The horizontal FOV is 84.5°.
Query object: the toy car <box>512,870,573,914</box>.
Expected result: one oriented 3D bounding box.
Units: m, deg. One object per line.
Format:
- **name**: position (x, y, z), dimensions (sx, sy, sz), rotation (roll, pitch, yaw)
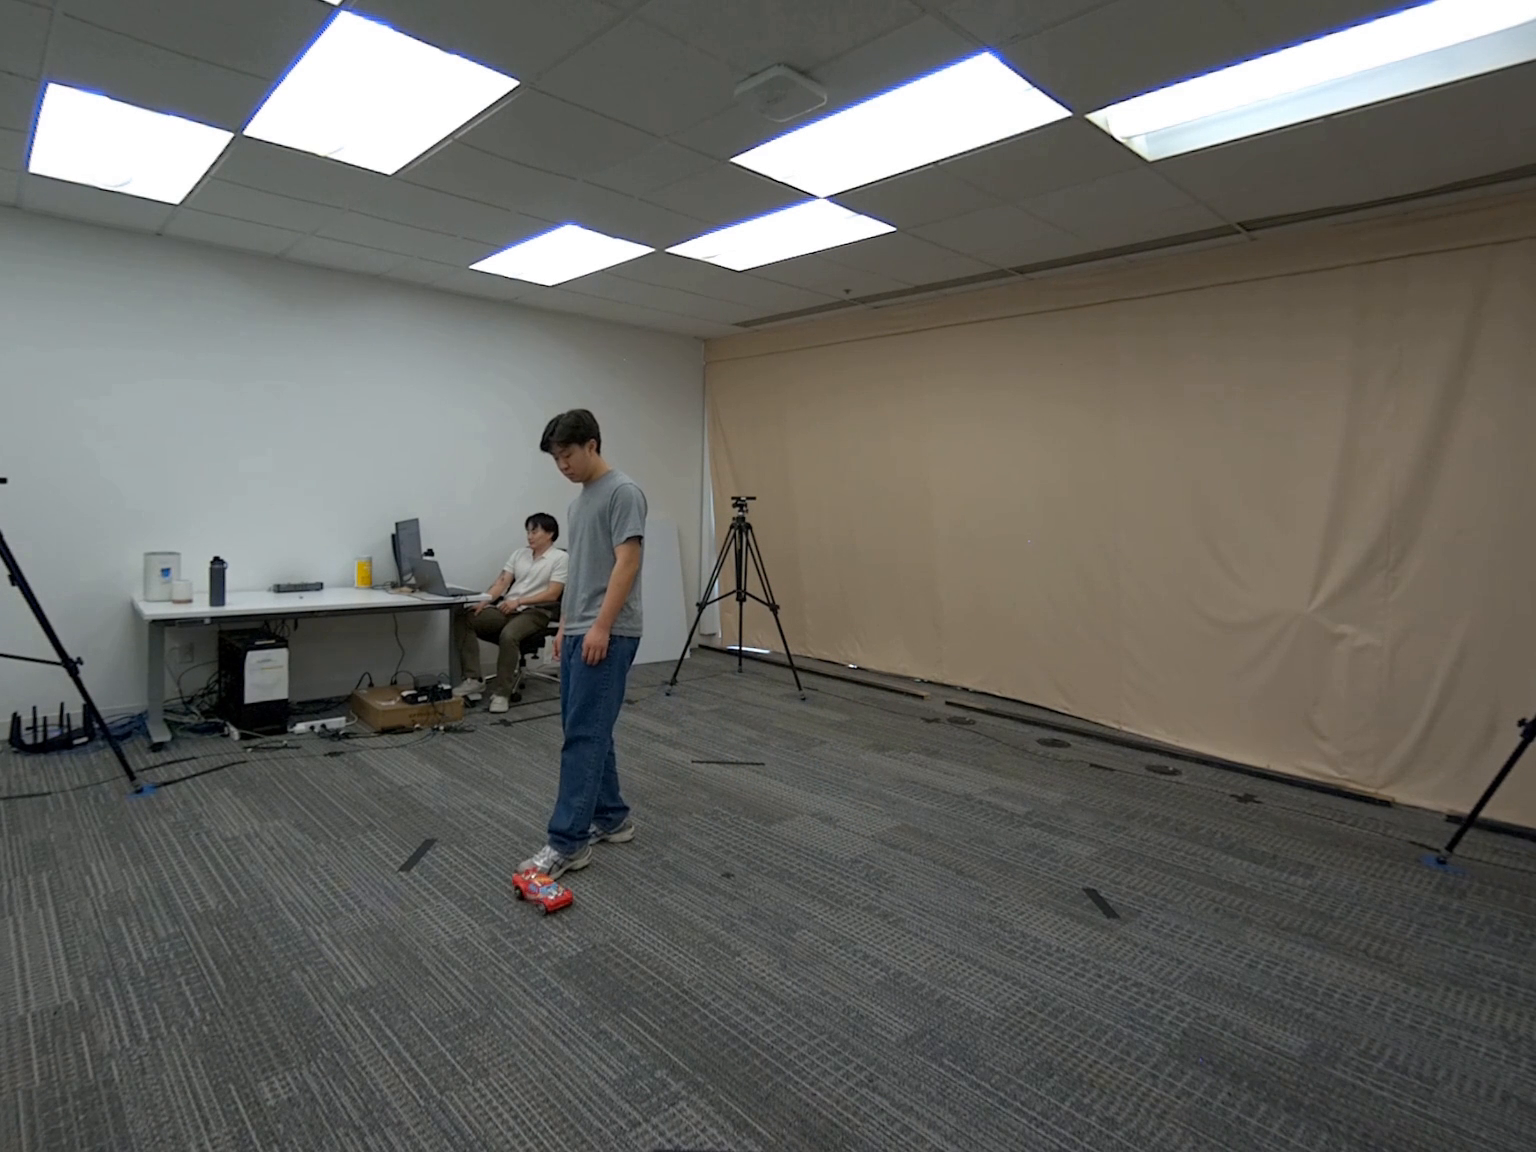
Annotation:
- **toy car**: position (-0.791, 1.082, 2.884), dimensions (0.127, 0.082, 0.262), rotation (-6, 20, -45)
